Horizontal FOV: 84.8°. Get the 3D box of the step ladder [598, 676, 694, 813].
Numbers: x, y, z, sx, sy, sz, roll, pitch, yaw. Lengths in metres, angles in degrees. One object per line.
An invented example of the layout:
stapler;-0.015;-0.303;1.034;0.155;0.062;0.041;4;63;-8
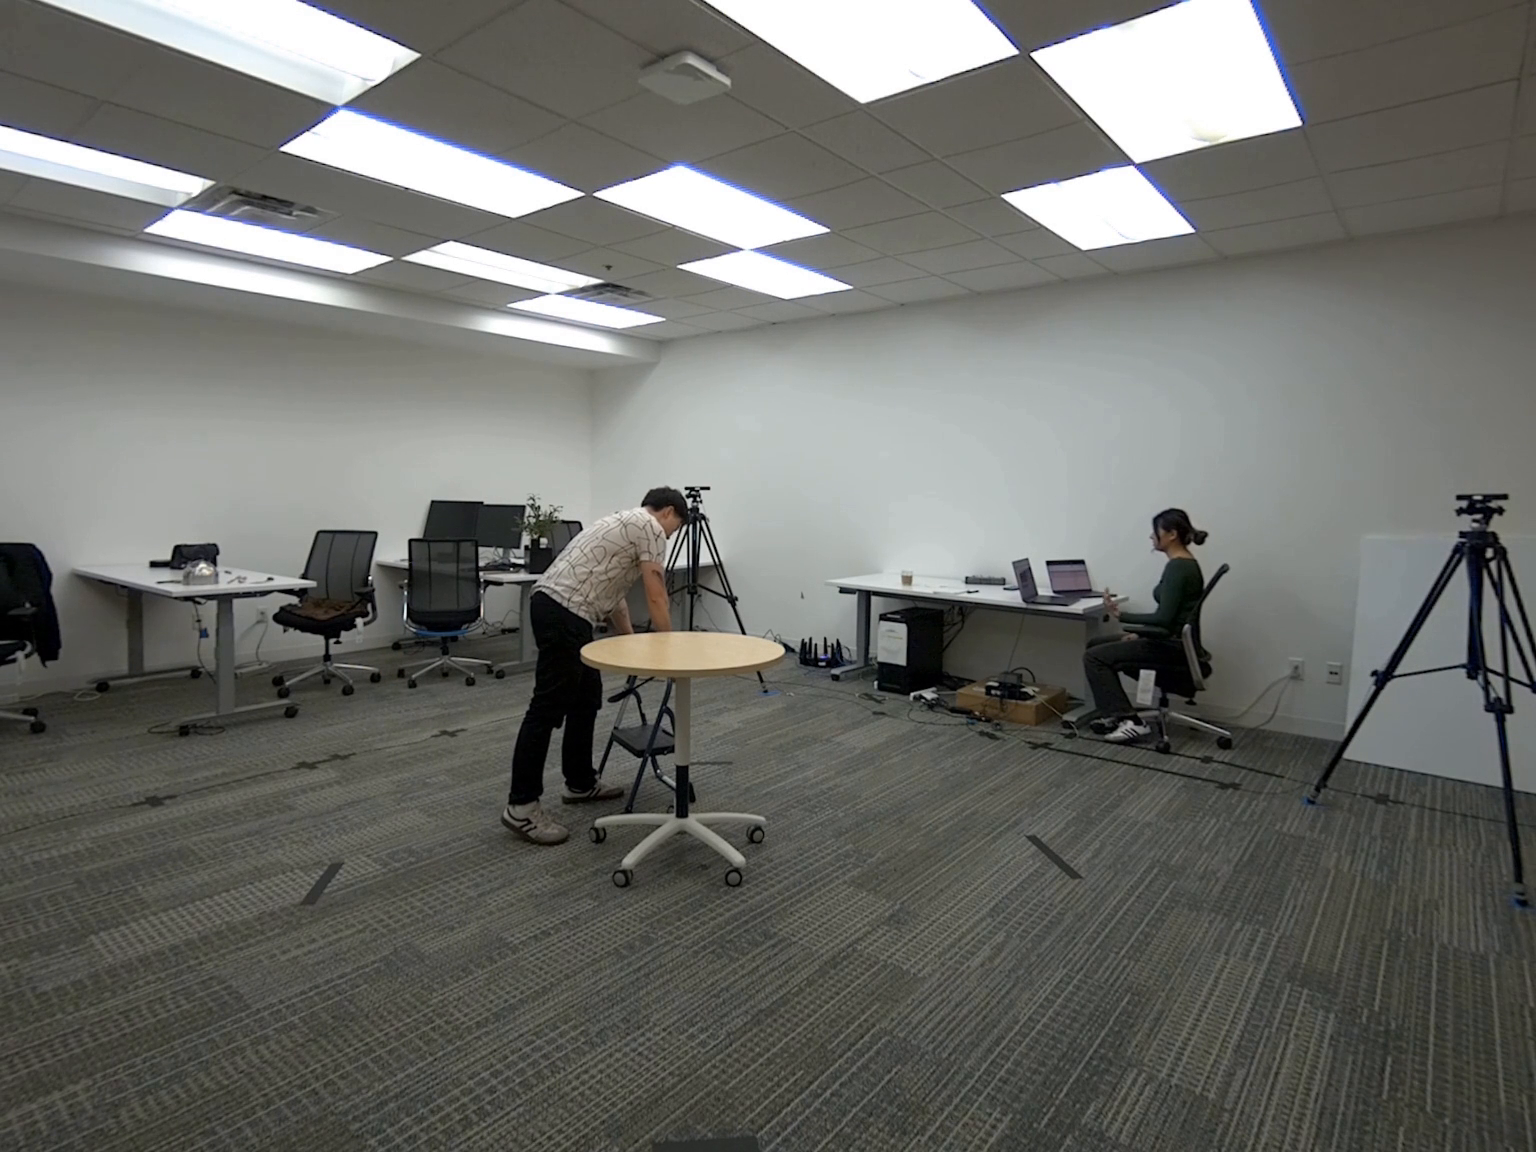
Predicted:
step ladder;-0.578;0.687;3.848;0.340;0.604;0.443;-1;3;-30
